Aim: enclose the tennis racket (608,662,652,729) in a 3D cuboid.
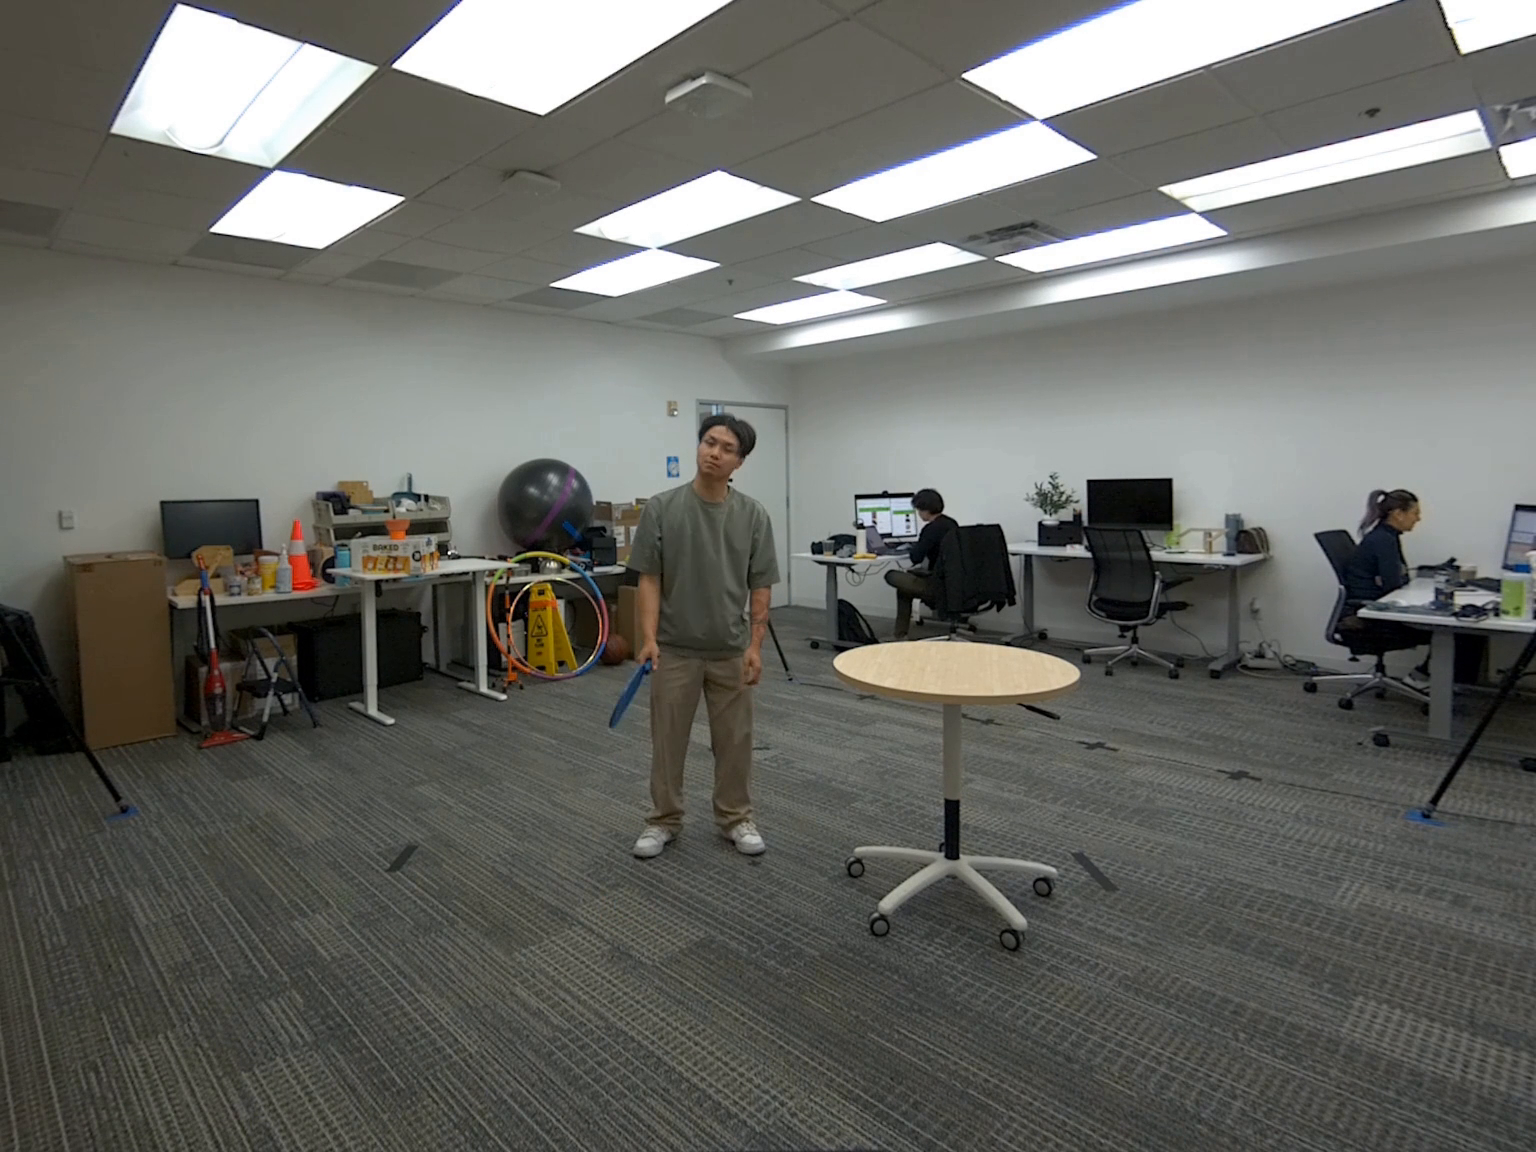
[{"bbox_3d":[-0.461,0.372,2.870,0.032,0.212,0.436,21,13,-3],"label":"tennis racket"}]
